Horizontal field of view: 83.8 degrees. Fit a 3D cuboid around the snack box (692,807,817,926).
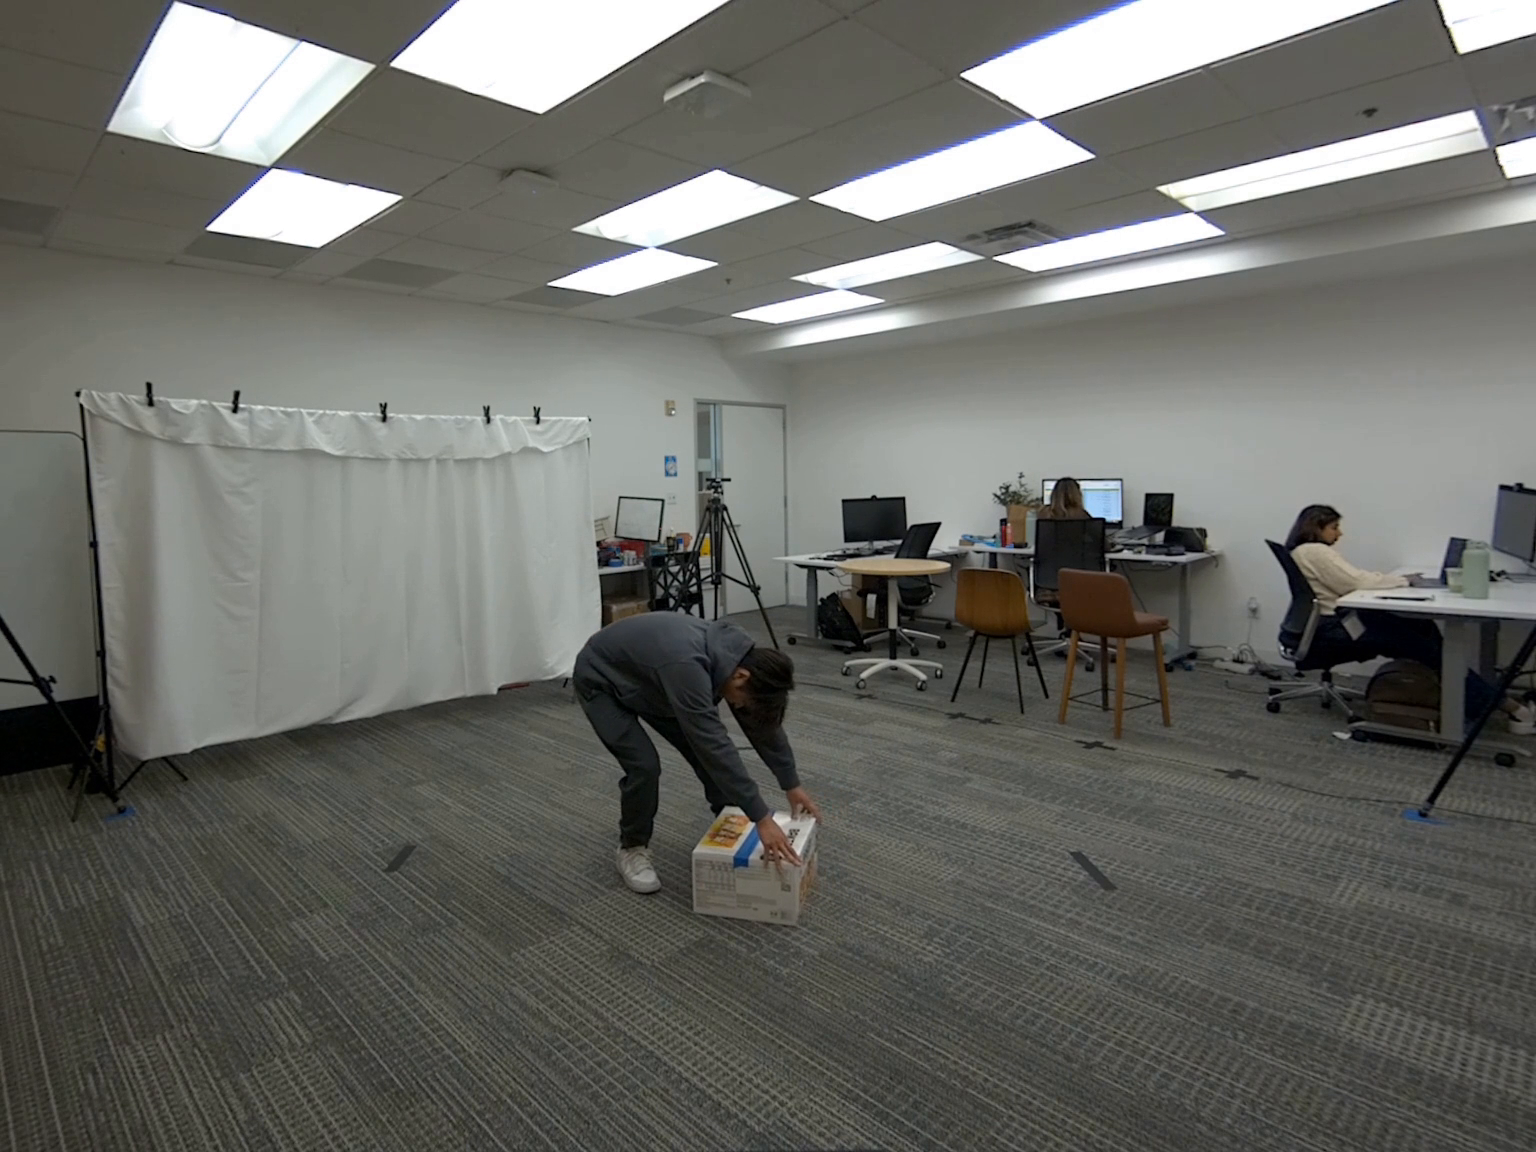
[{"bbox_3d":[-0.030,0.969,2.889,0.345,0.205,0.401,0,6,14],"label":"snack box"}]
